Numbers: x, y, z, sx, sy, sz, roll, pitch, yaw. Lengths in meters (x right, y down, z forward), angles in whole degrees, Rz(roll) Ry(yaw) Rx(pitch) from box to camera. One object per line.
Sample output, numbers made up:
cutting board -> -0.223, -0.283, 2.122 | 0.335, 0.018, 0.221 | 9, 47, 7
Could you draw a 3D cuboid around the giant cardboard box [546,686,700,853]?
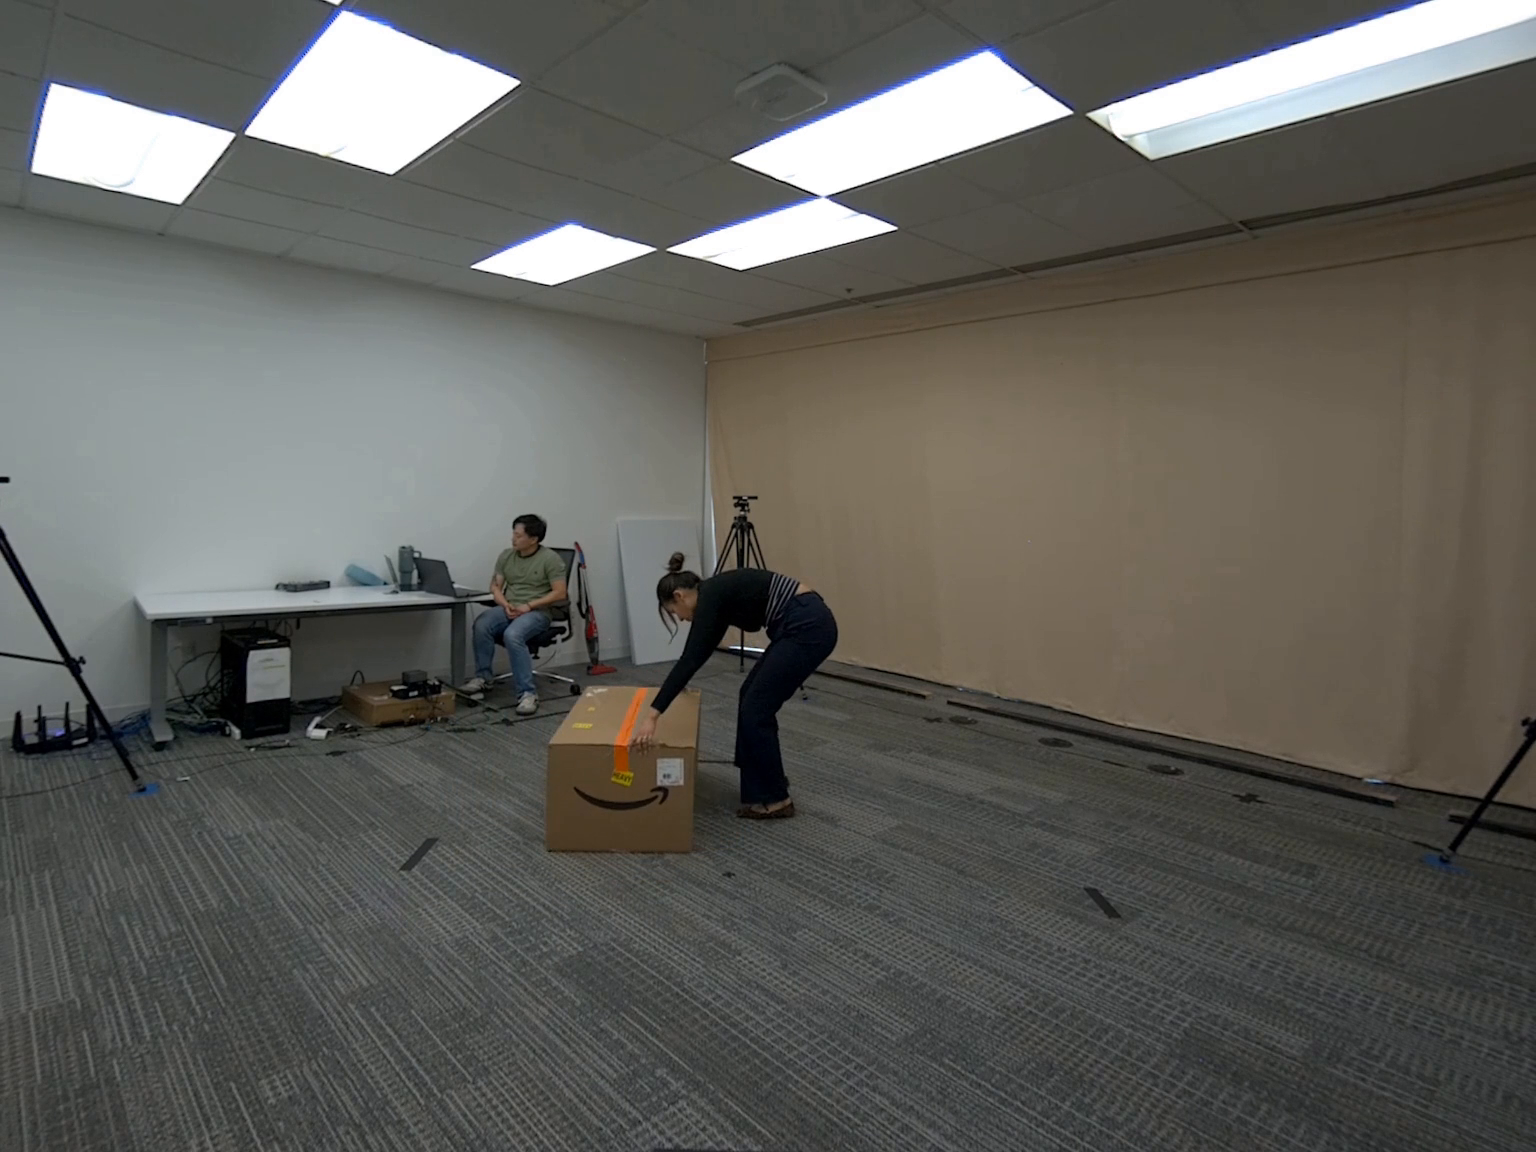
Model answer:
giant cardboard box -> -0.609, 0.814, 3.767 | 0.576, 0.425, 1.031 | 1, 5, -3
